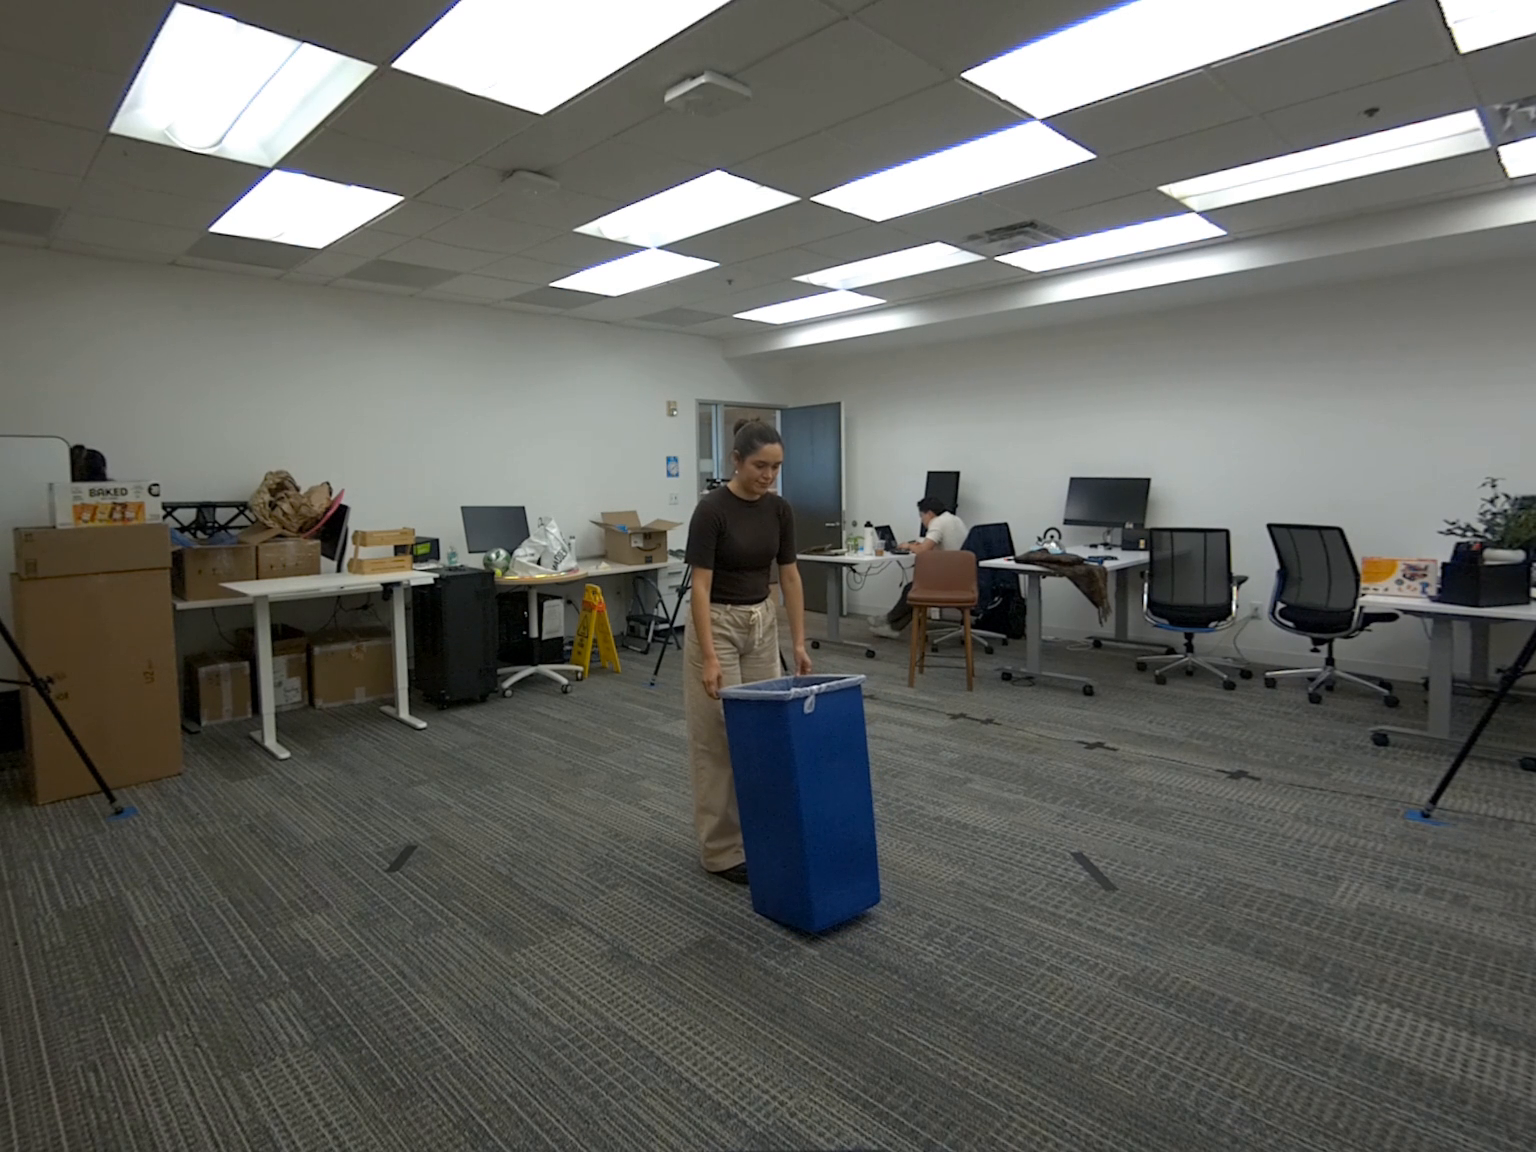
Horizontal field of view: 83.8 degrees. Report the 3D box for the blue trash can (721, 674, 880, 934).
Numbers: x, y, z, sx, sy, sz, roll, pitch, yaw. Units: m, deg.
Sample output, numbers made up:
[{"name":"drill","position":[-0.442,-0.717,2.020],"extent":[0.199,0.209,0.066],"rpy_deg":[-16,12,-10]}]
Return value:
[{"name":"blue trash can","position":[0.108,0.706,2.765],"extent":[0.368,0.716,0.383],"rpy_deg":[-3,-5,-39]}]
